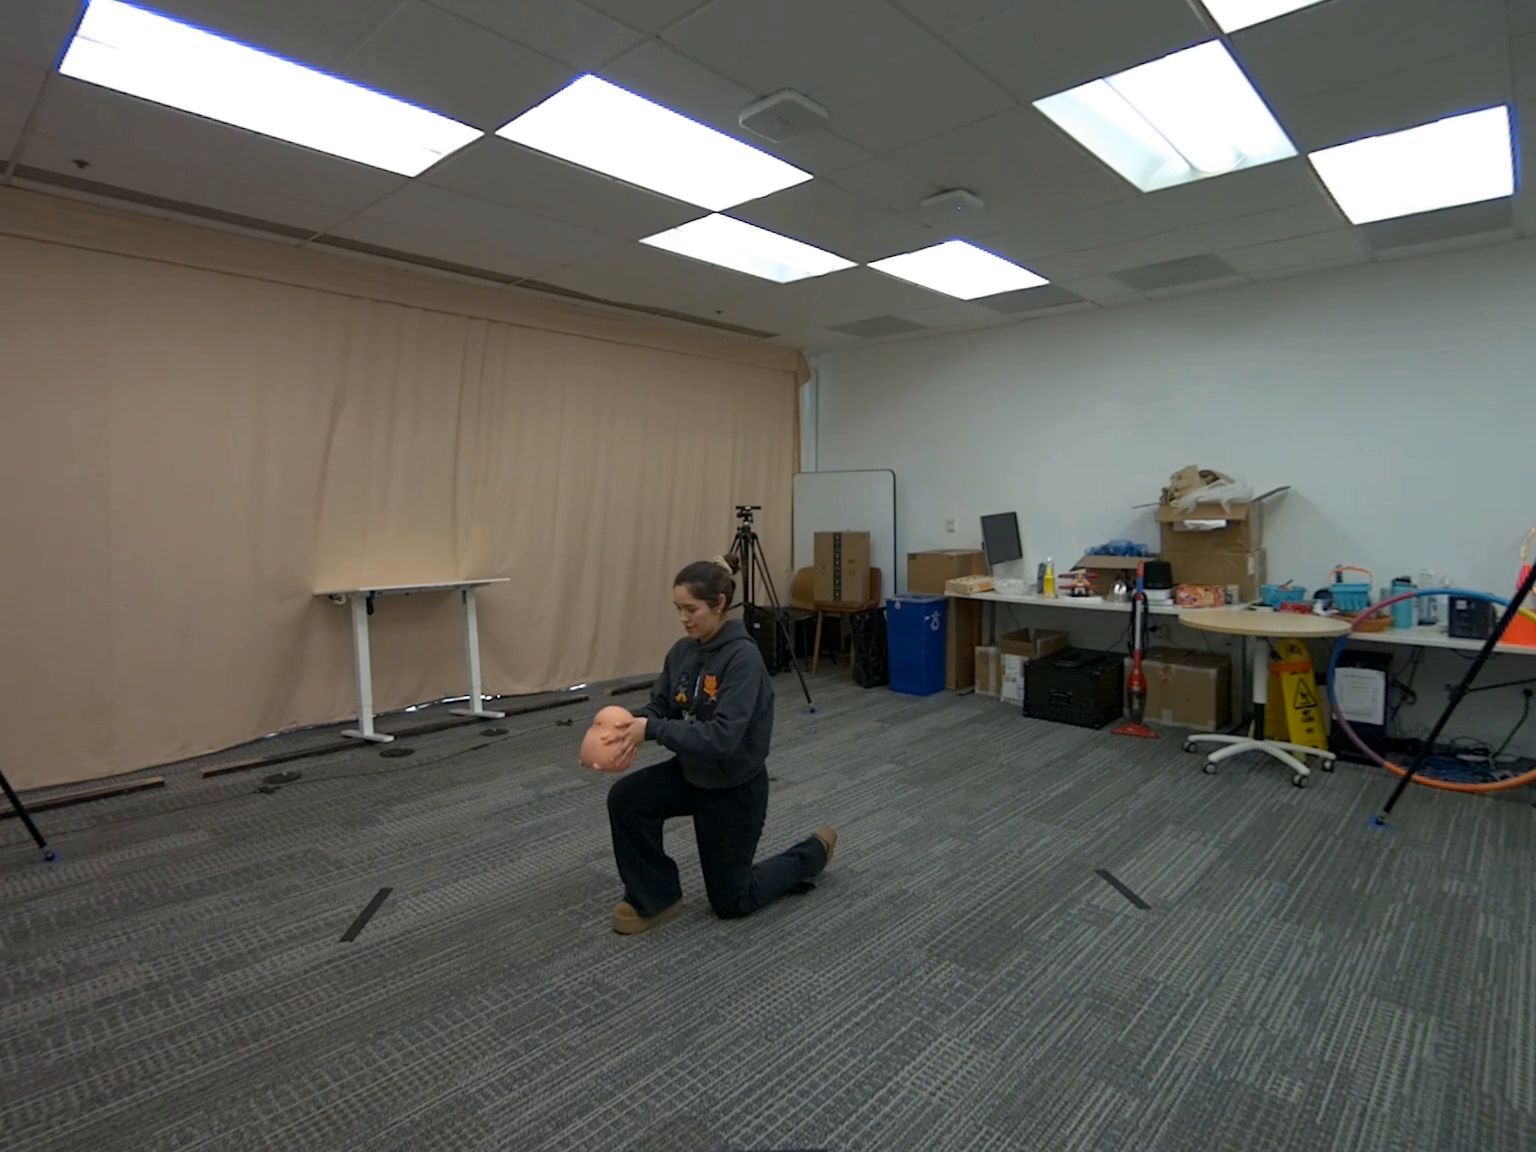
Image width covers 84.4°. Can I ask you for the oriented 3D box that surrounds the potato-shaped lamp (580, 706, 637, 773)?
[{"bbox_3d":[-0.479,0.516,2.618,0.166,0.199,0.169,13,-13,-31],"label":"potato-shaped lamp"}]
